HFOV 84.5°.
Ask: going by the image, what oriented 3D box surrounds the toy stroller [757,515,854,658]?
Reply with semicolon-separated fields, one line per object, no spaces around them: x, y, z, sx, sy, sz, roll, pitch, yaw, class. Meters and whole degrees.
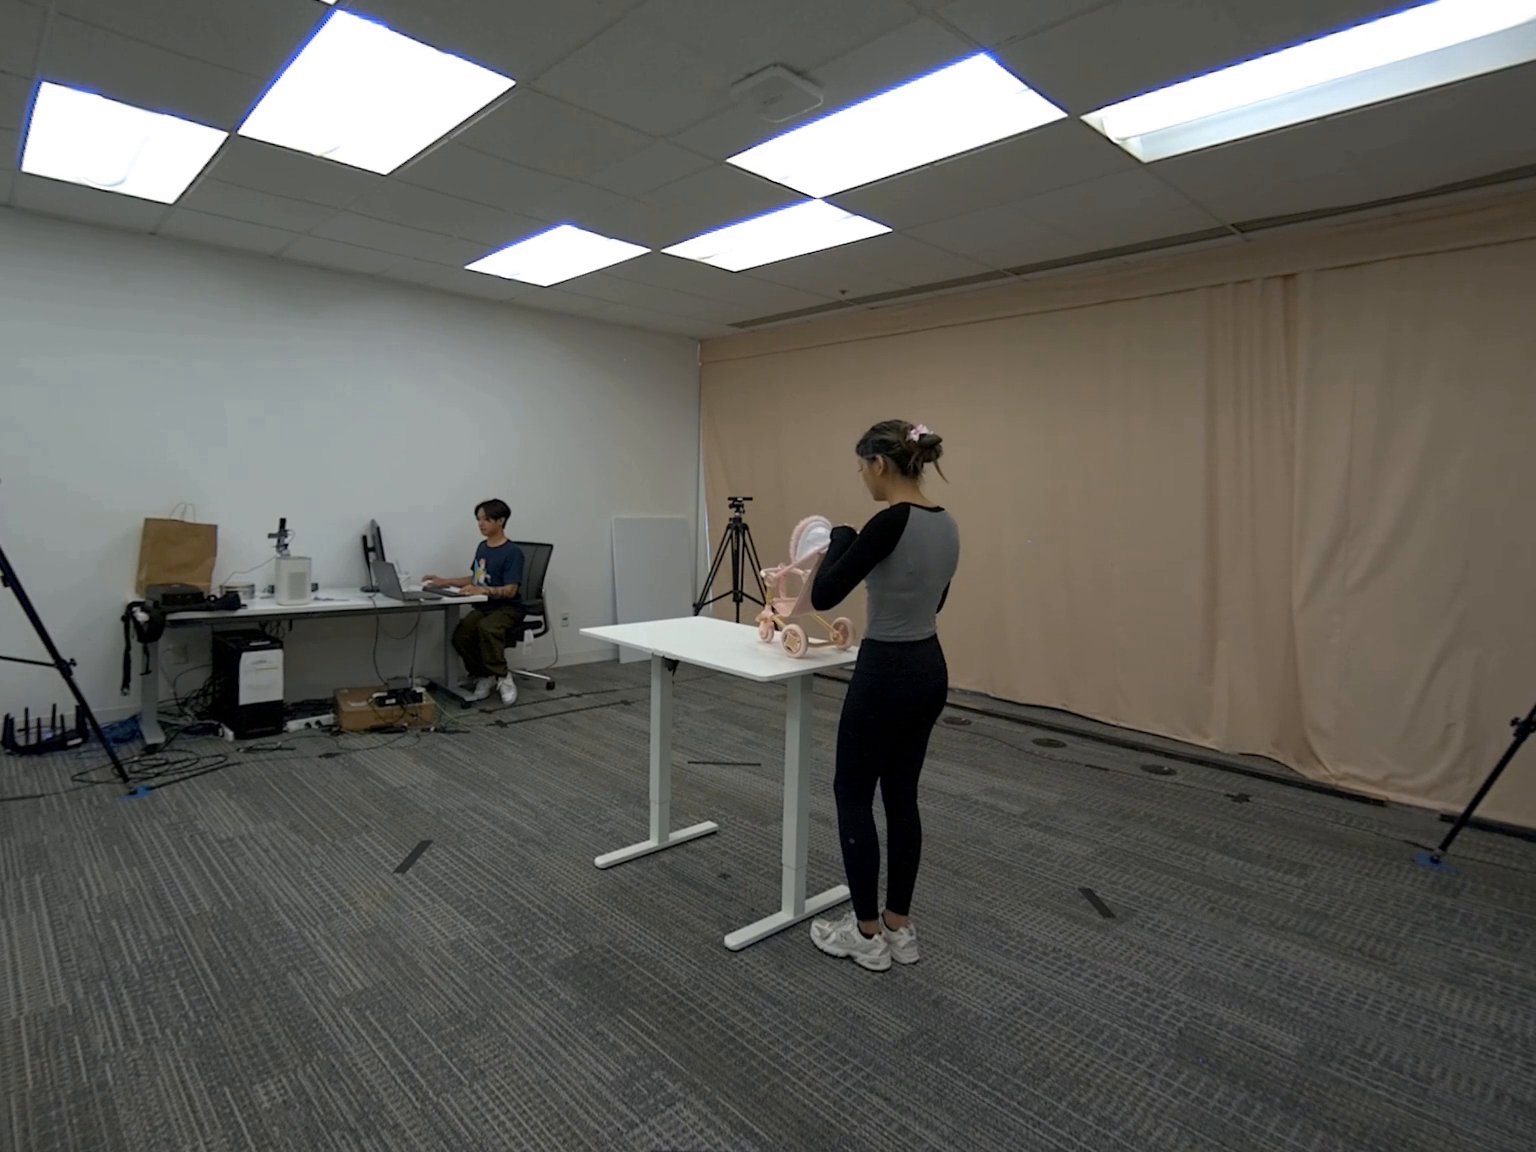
0.129;0.034;2.837;0.275;0.530;0.352;-2;22;-40;toy stroller
